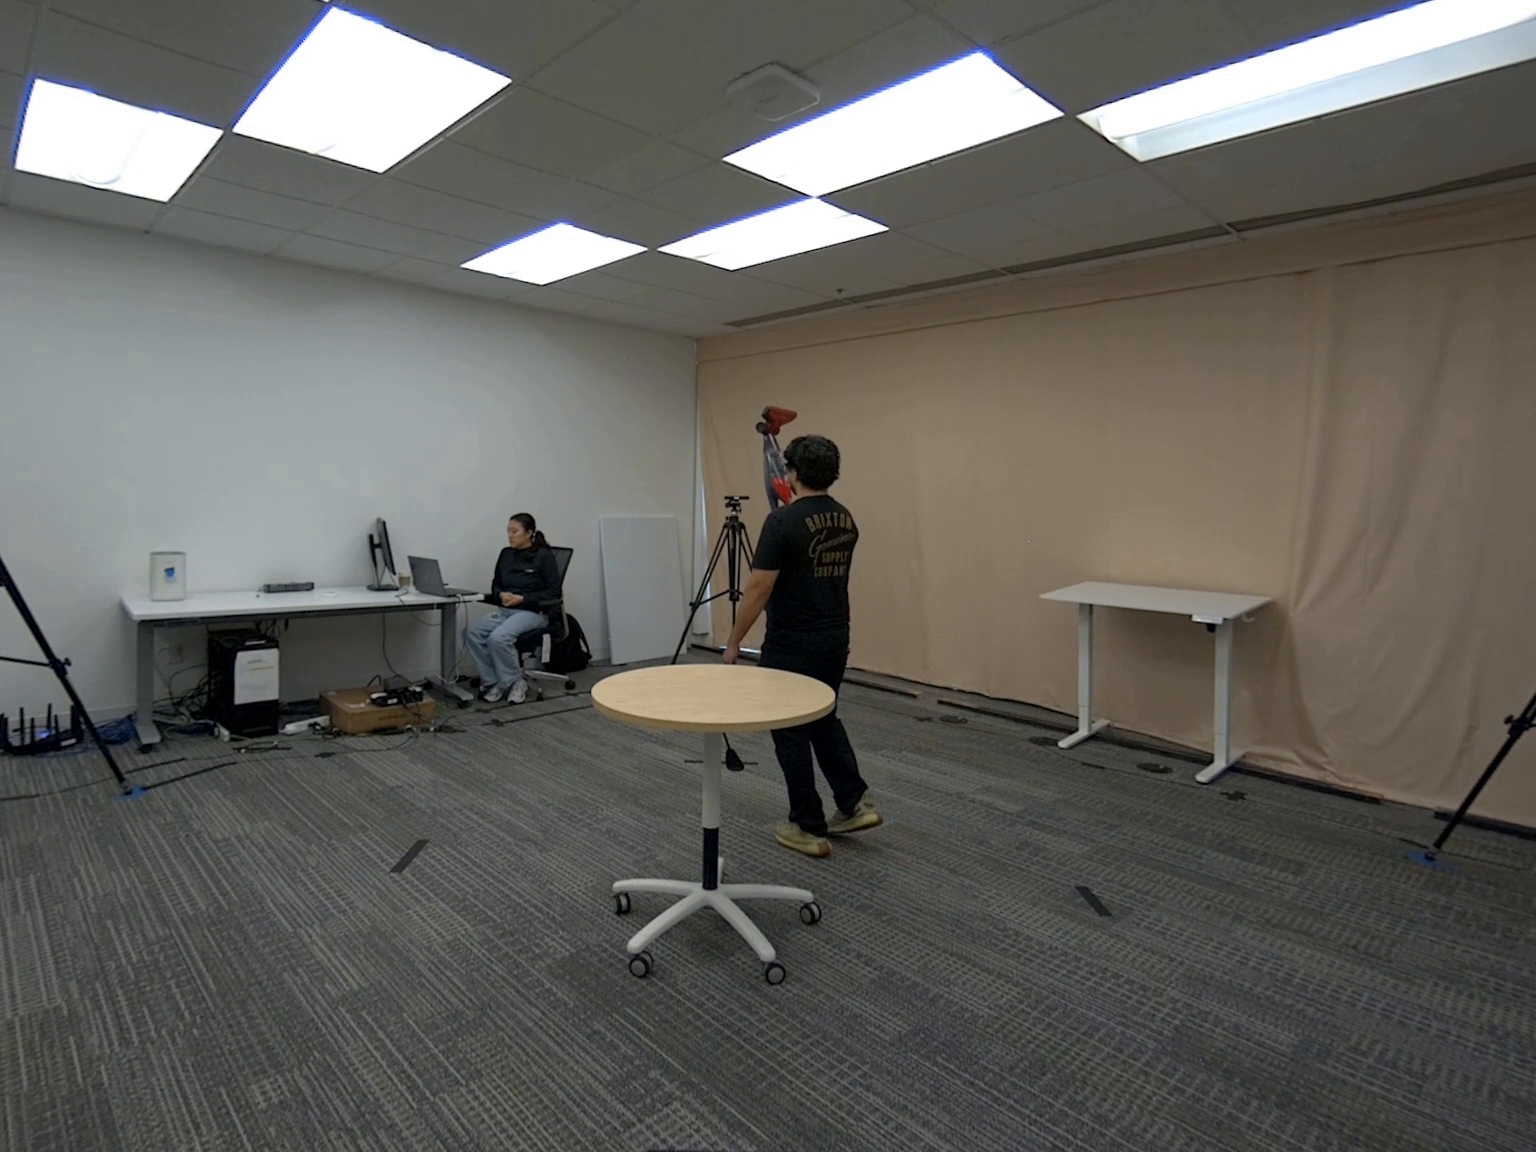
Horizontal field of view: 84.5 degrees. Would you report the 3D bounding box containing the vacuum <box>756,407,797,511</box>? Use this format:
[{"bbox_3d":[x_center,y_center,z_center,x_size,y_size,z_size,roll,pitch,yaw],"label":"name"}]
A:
[{"bbox_3d":[0.057,-0.218,3.938,0.147,1.050,0.247,-4,-1,34],"label":"vacuum"}]
